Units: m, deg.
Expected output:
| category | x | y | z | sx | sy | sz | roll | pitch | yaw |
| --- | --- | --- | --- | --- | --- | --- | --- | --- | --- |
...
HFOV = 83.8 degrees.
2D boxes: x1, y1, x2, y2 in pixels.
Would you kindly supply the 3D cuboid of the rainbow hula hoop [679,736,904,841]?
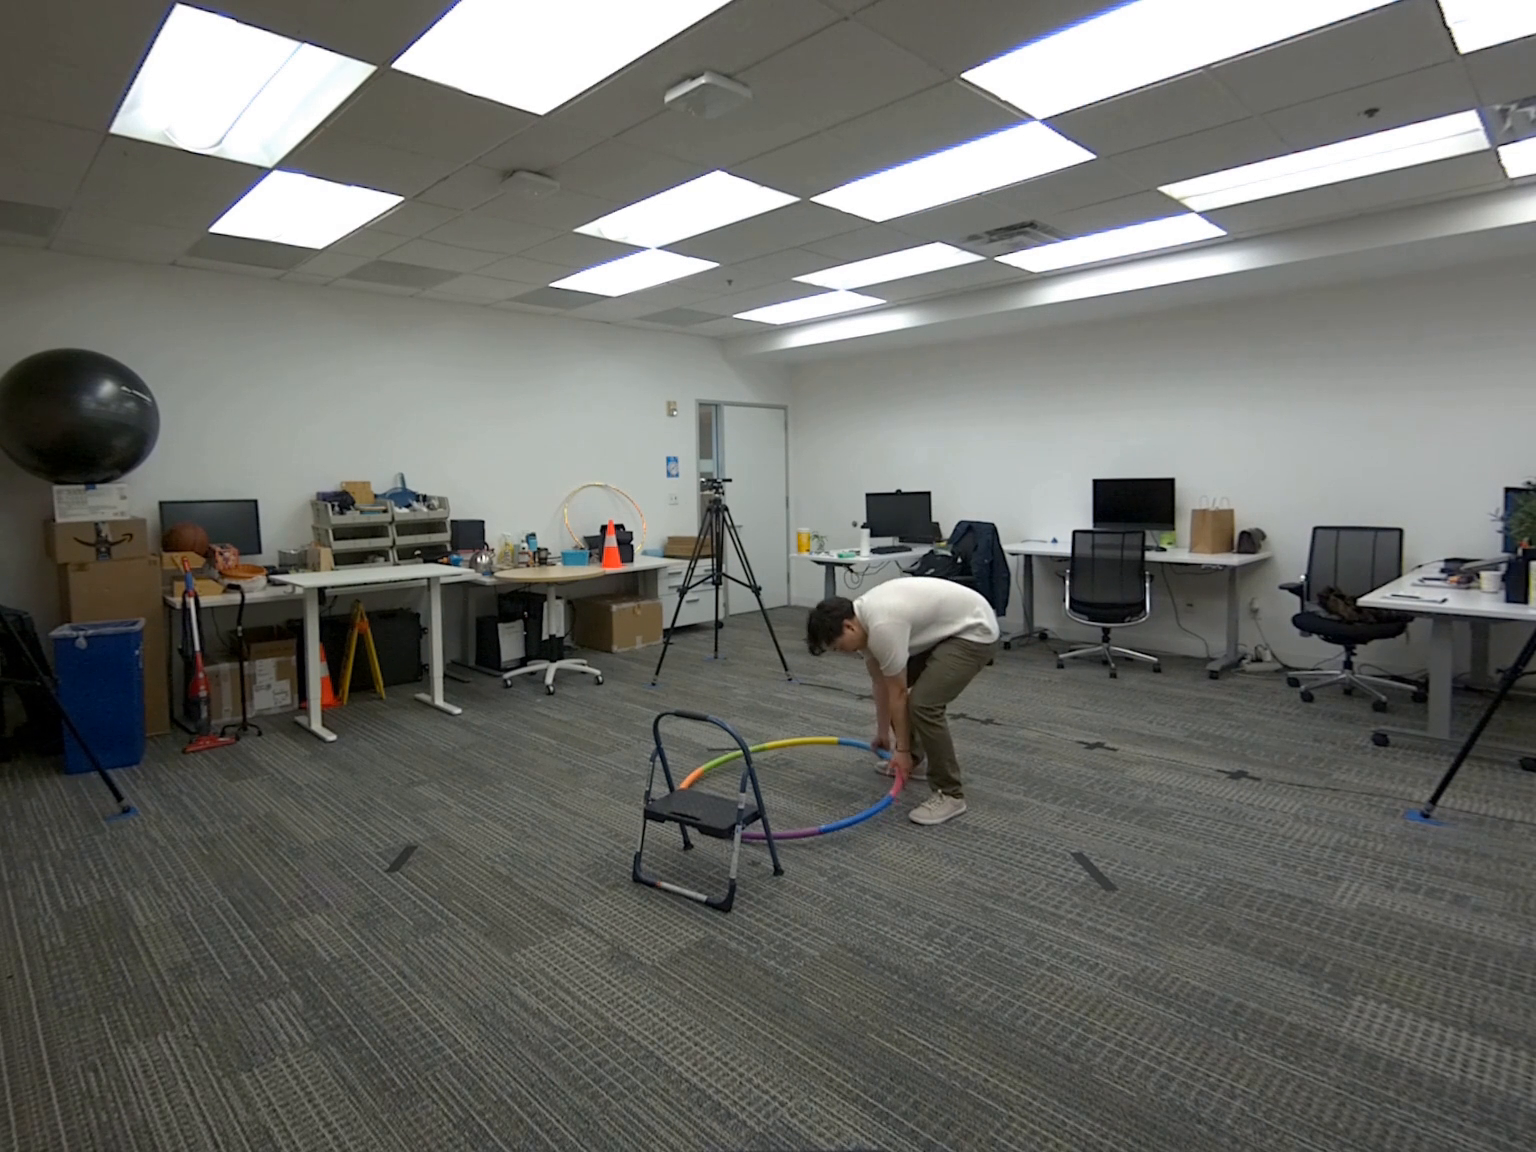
| category | x | y | z | sx | sy | sz | roll | pitch | yaw |
| --- | --- | --- | --- | --- | --- | --- | --- | --- | --- |
| rainbow hula hoop | 0.087 | 0.888 | 3.716 | 0.979 | 0.035 | 0.987 | -8 | 9 | -1 |
